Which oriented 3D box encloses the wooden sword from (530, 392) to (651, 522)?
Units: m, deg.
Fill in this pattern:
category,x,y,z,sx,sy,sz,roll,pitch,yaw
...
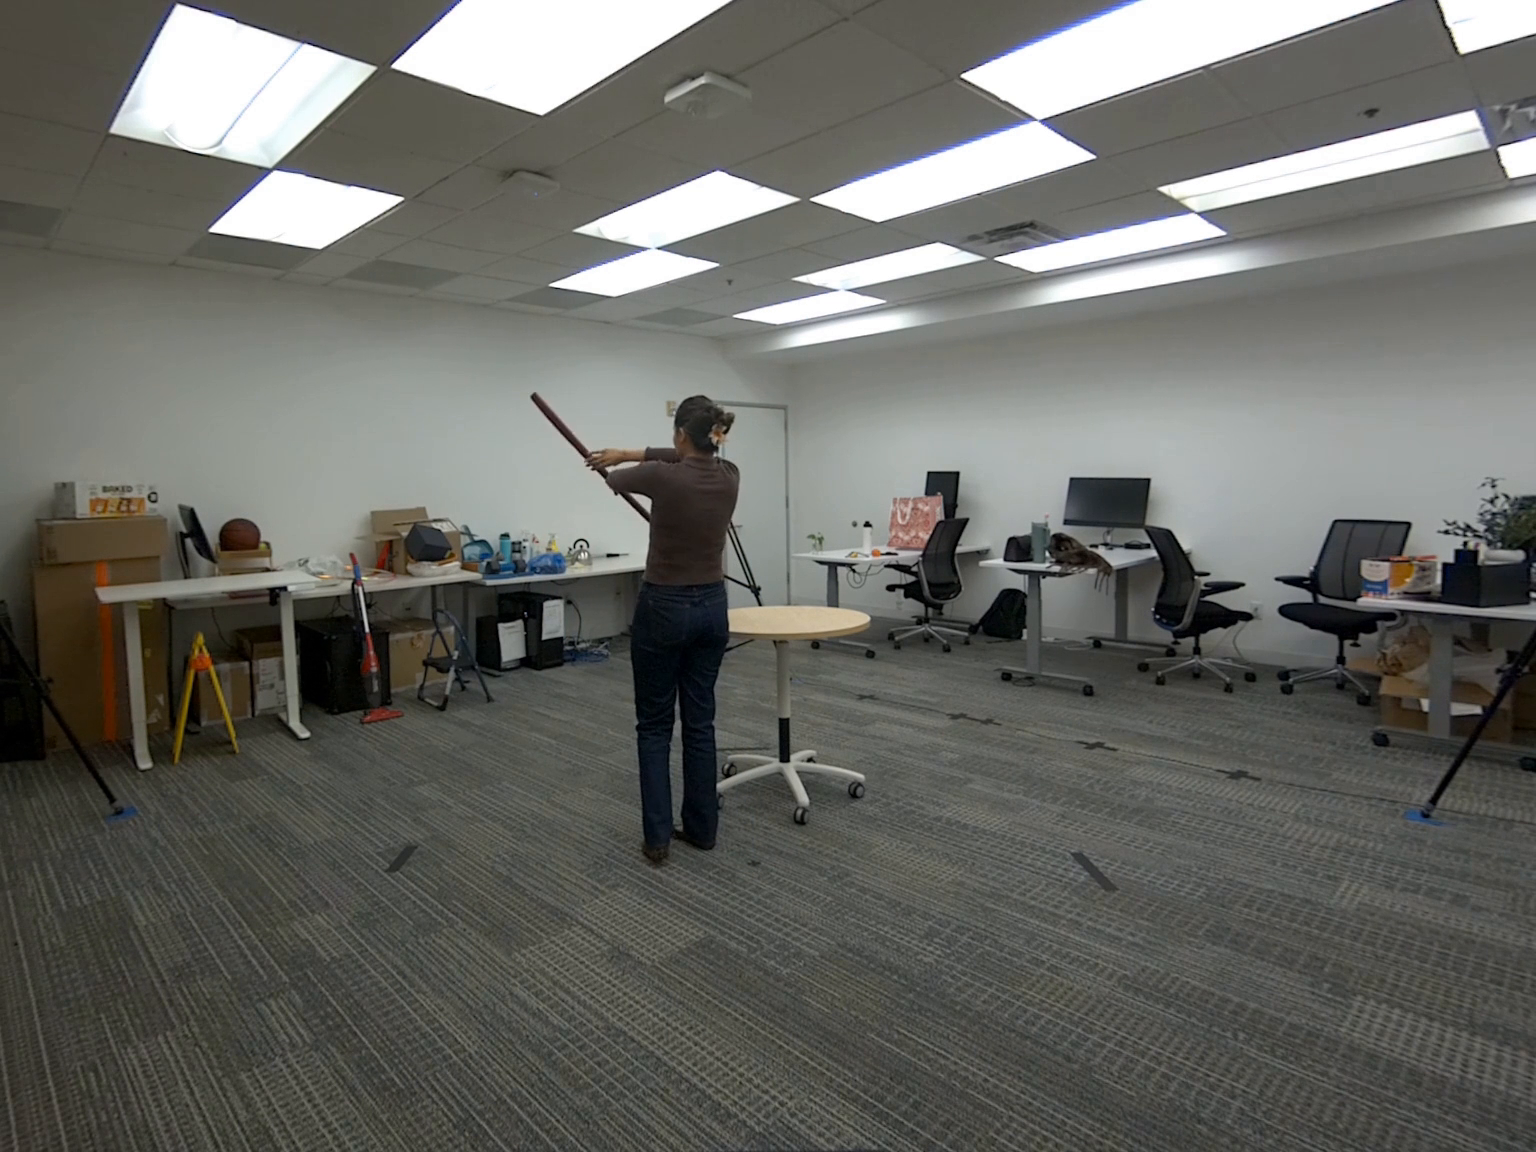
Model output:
category,x,y,z,sx,sy,sz,roll,pitch,yaw
wooden sword,-0.639,-0.395,3.634,0.024,0.992,0.052,-19,35,38
